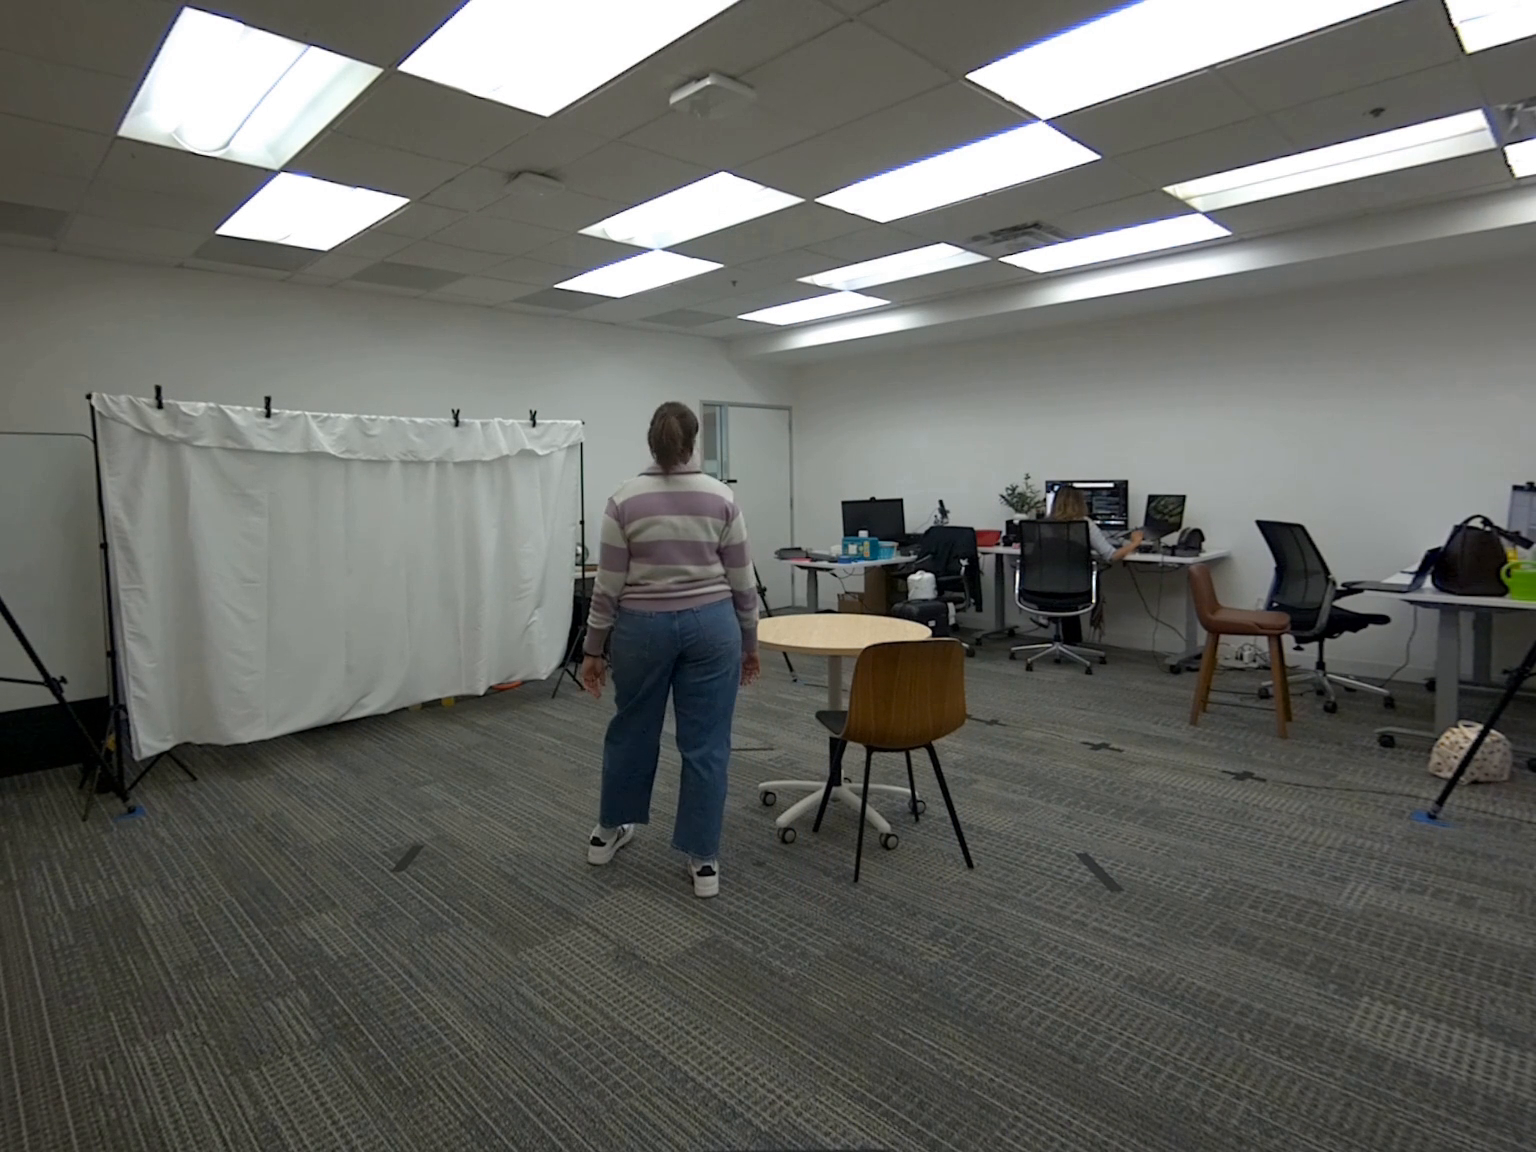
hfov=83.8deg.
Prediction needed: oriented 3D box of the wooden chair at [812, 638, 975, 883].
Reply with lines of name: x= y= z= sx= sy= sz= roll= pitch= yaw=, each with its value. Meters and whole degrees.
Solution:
wooden chair: x=0.436 y=0.598 z=3.190 sx=0.472 sy=0.871 sz=0.534 roll=-3 pitch=8 yaw=-14
